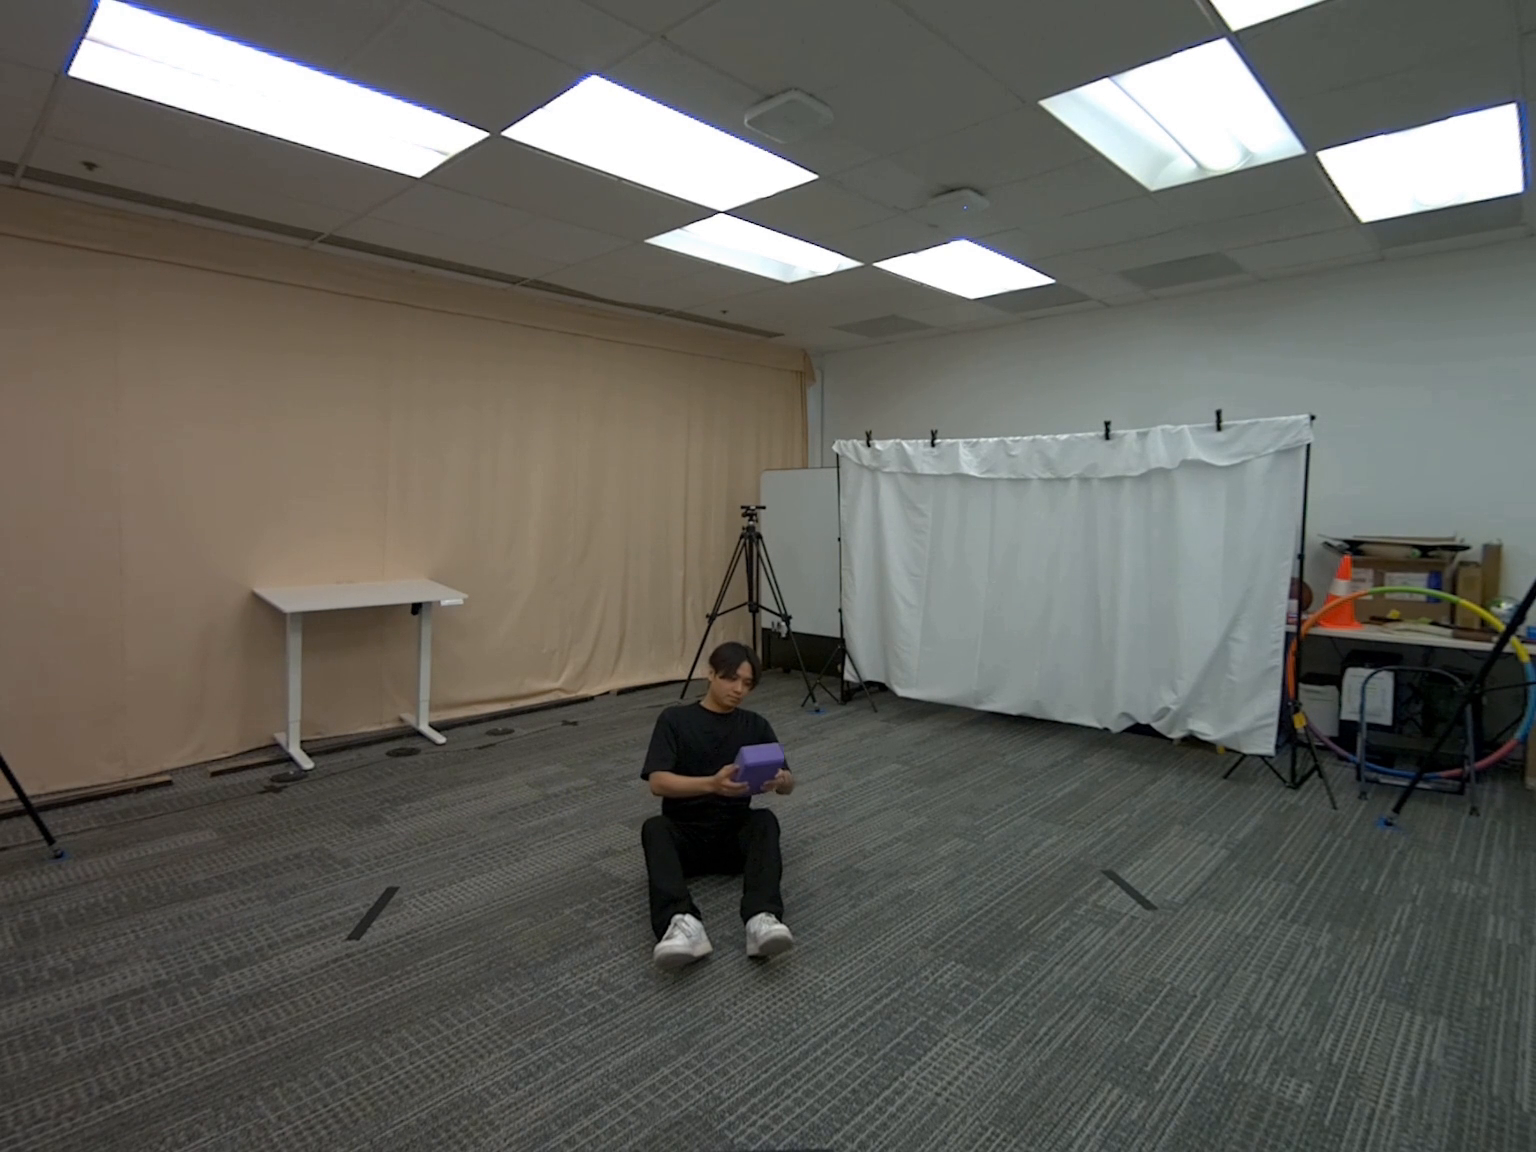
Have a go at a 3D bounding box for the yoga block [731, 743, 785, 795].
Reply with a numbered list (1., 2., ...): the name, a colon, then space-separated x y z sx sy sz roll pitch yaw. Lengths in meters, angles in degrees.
1. yoga block: -0.052 0.684 2.961 0.145 0.078 0.228 -2 -40 -25
